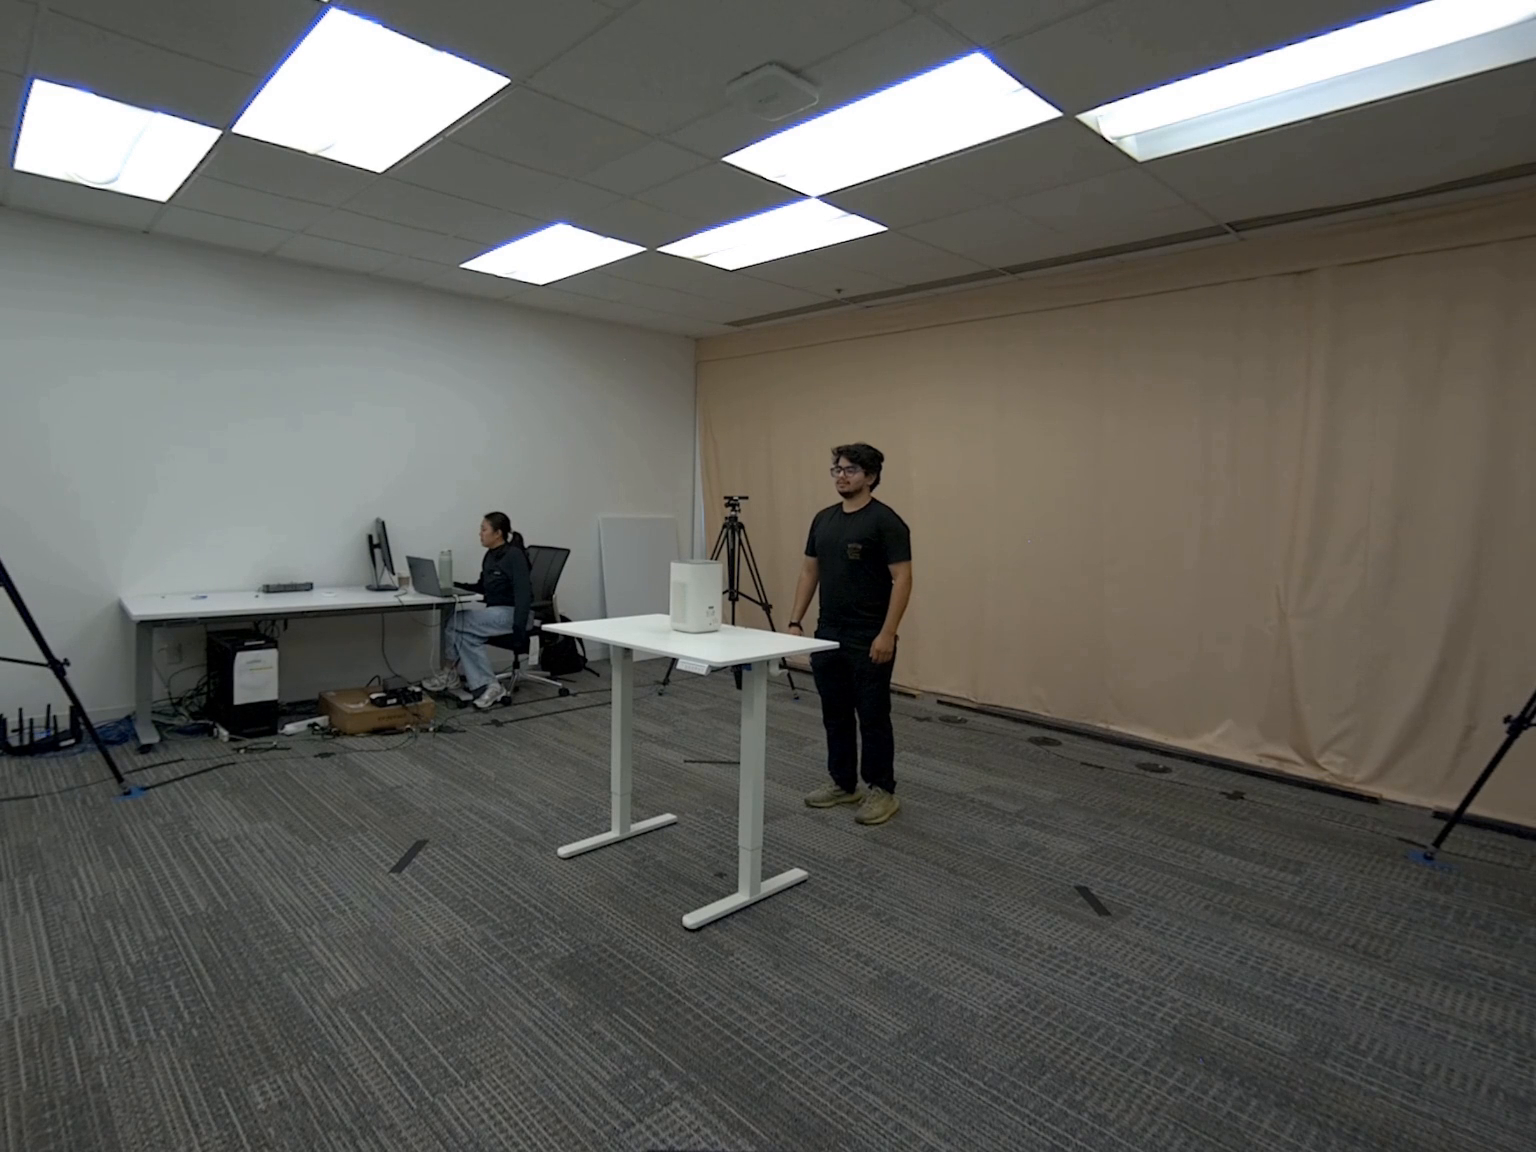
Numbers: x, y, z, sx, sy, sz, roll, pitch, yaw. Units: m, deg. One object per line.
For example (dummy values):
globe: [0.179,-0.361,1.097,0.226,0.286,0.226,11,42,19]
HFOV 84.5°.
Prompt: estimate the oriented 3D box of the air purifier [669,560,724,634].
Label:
air purifier: [-0.280,0.077,3.208,0.176,0.265,0.167,3,4,44]
